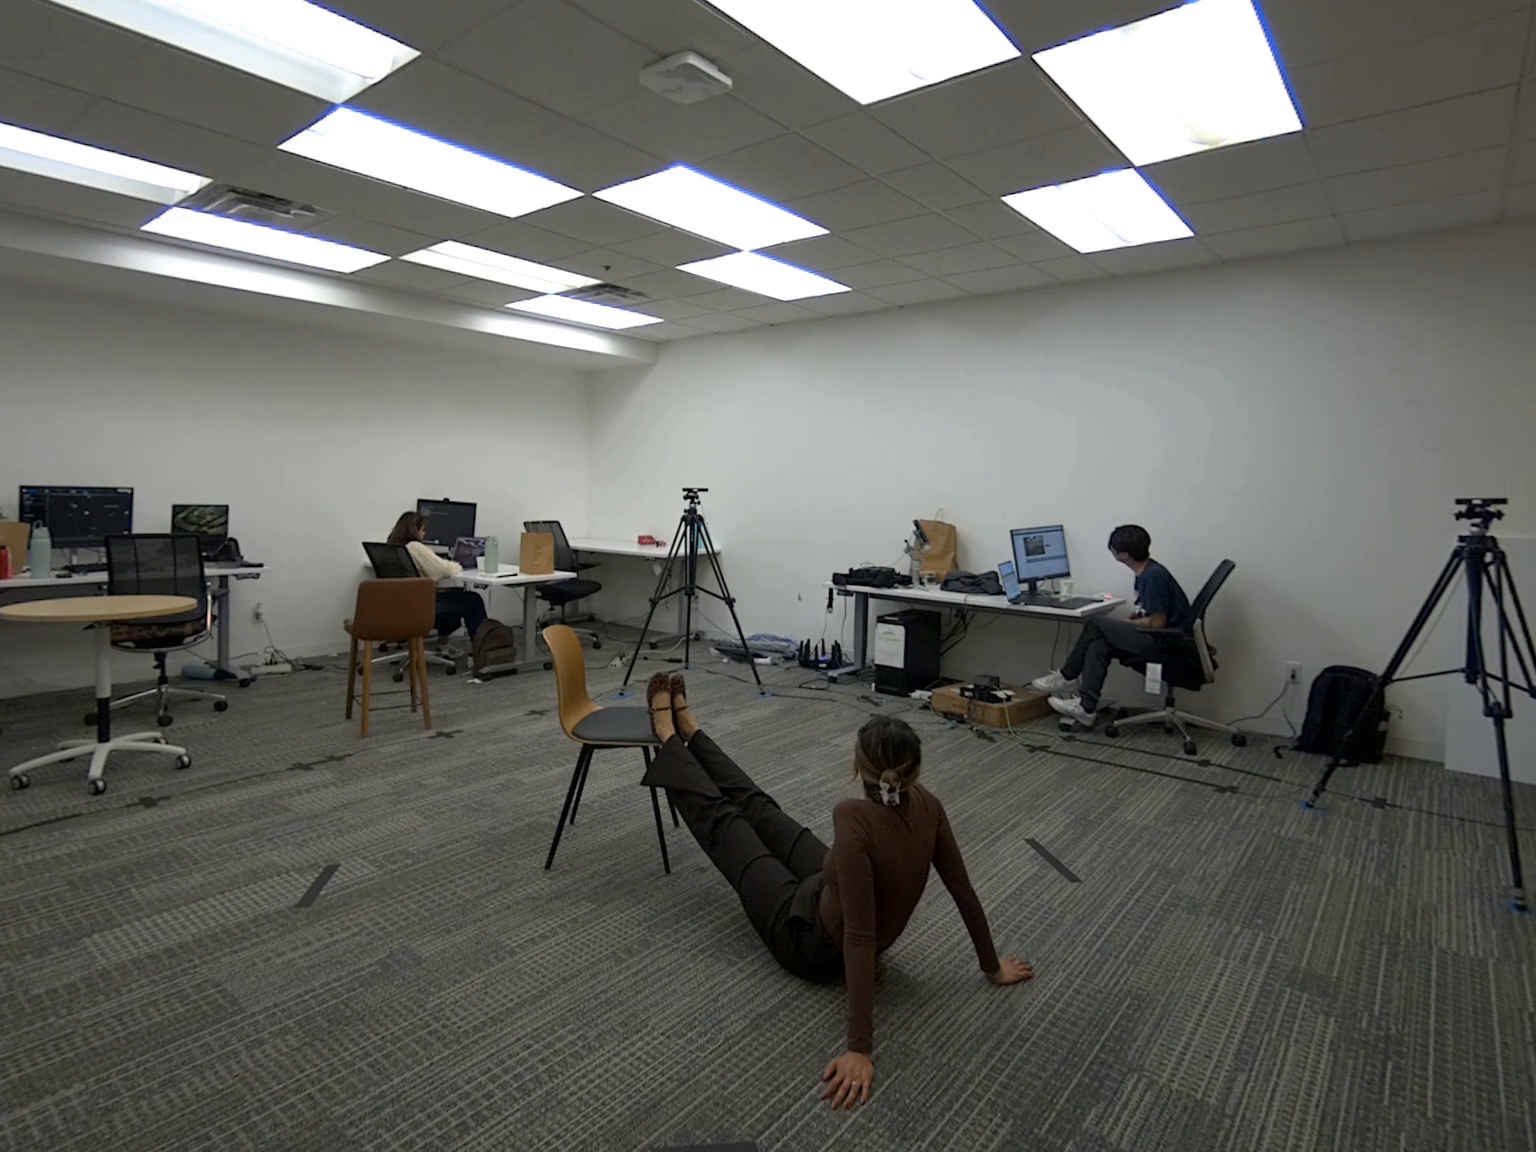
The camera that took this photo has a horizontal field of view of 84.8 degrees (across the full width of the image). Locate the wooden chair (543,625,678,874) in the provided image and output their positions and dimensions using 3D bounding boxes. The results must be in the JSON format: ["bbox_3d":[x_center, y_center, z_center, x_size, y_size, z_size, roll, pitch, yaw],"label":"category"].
[{"bbox_3d":[-0.585,0.621,3.267,0.524,0.875,0.479,-3,3,1],"label":"wooden chair"}]
